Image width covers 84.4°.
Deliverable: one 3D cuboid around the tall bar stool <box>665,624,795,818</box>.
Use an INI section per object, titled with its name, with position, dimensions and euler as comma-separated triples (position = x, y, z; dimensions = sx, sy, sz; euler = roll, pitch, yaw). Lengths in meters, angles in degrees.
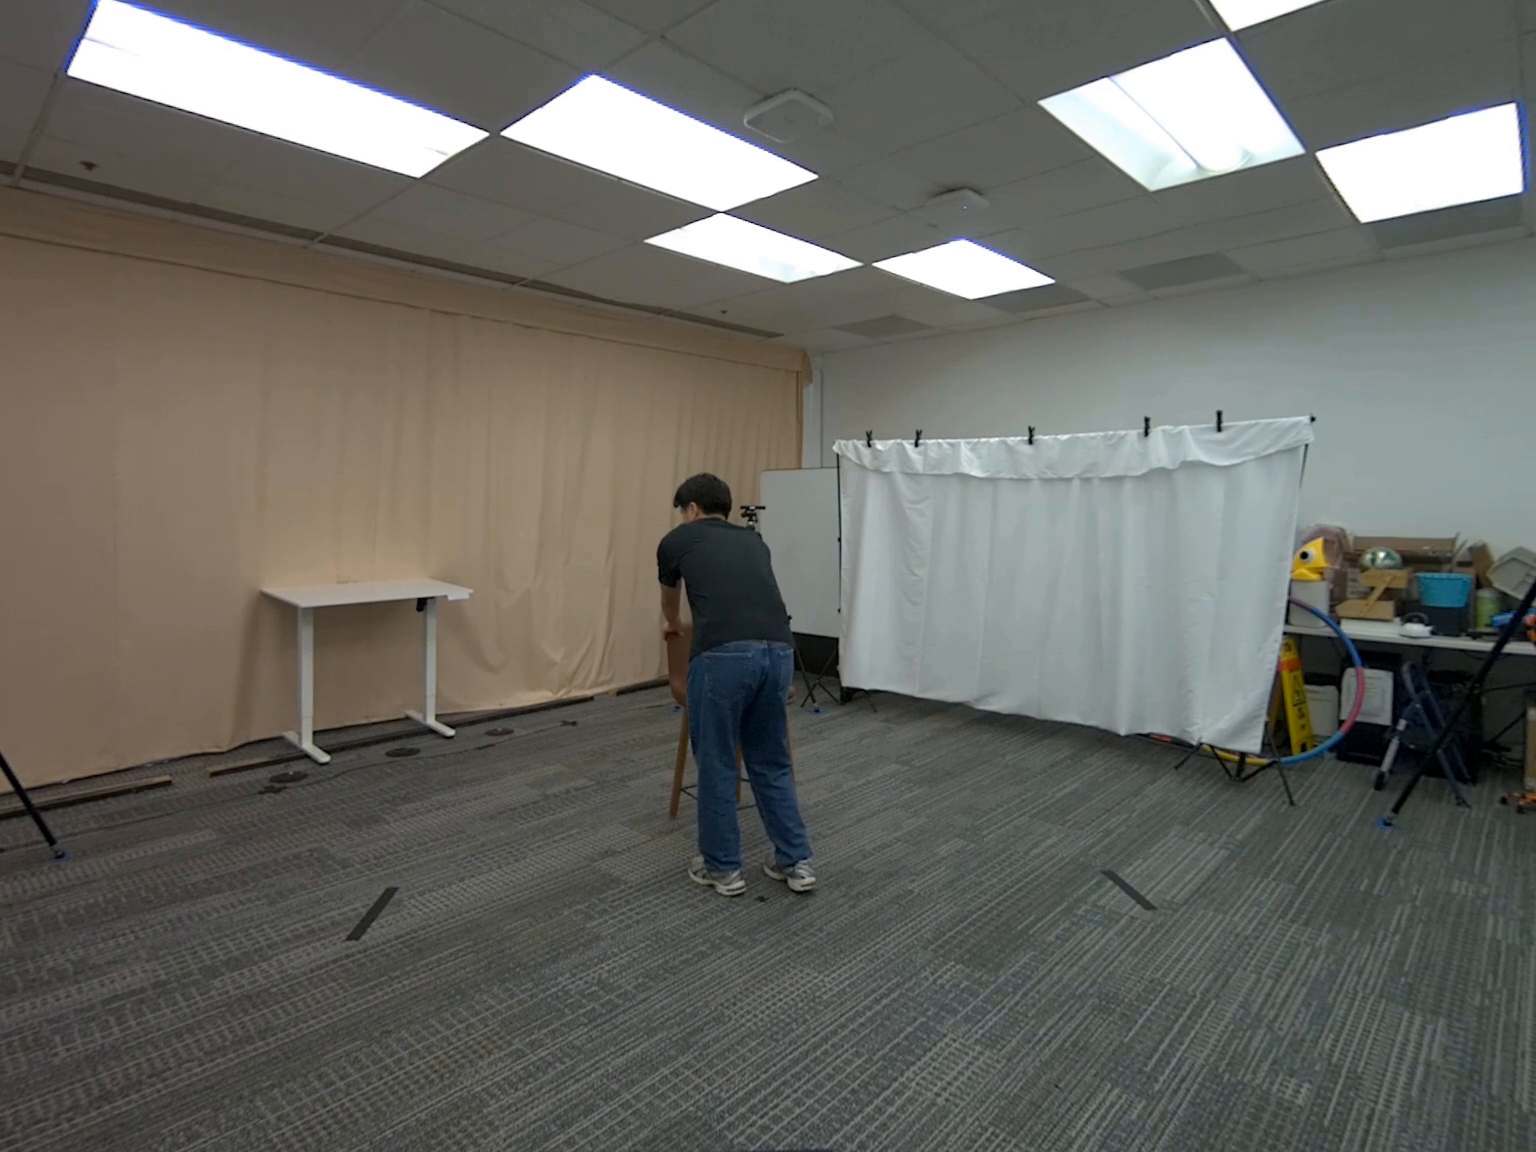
[tall bar stool]
position = -0.169, 0.646, 3.661
dimensions = 0.443, 0.889, 0.482
euler = -2, 2, -35
